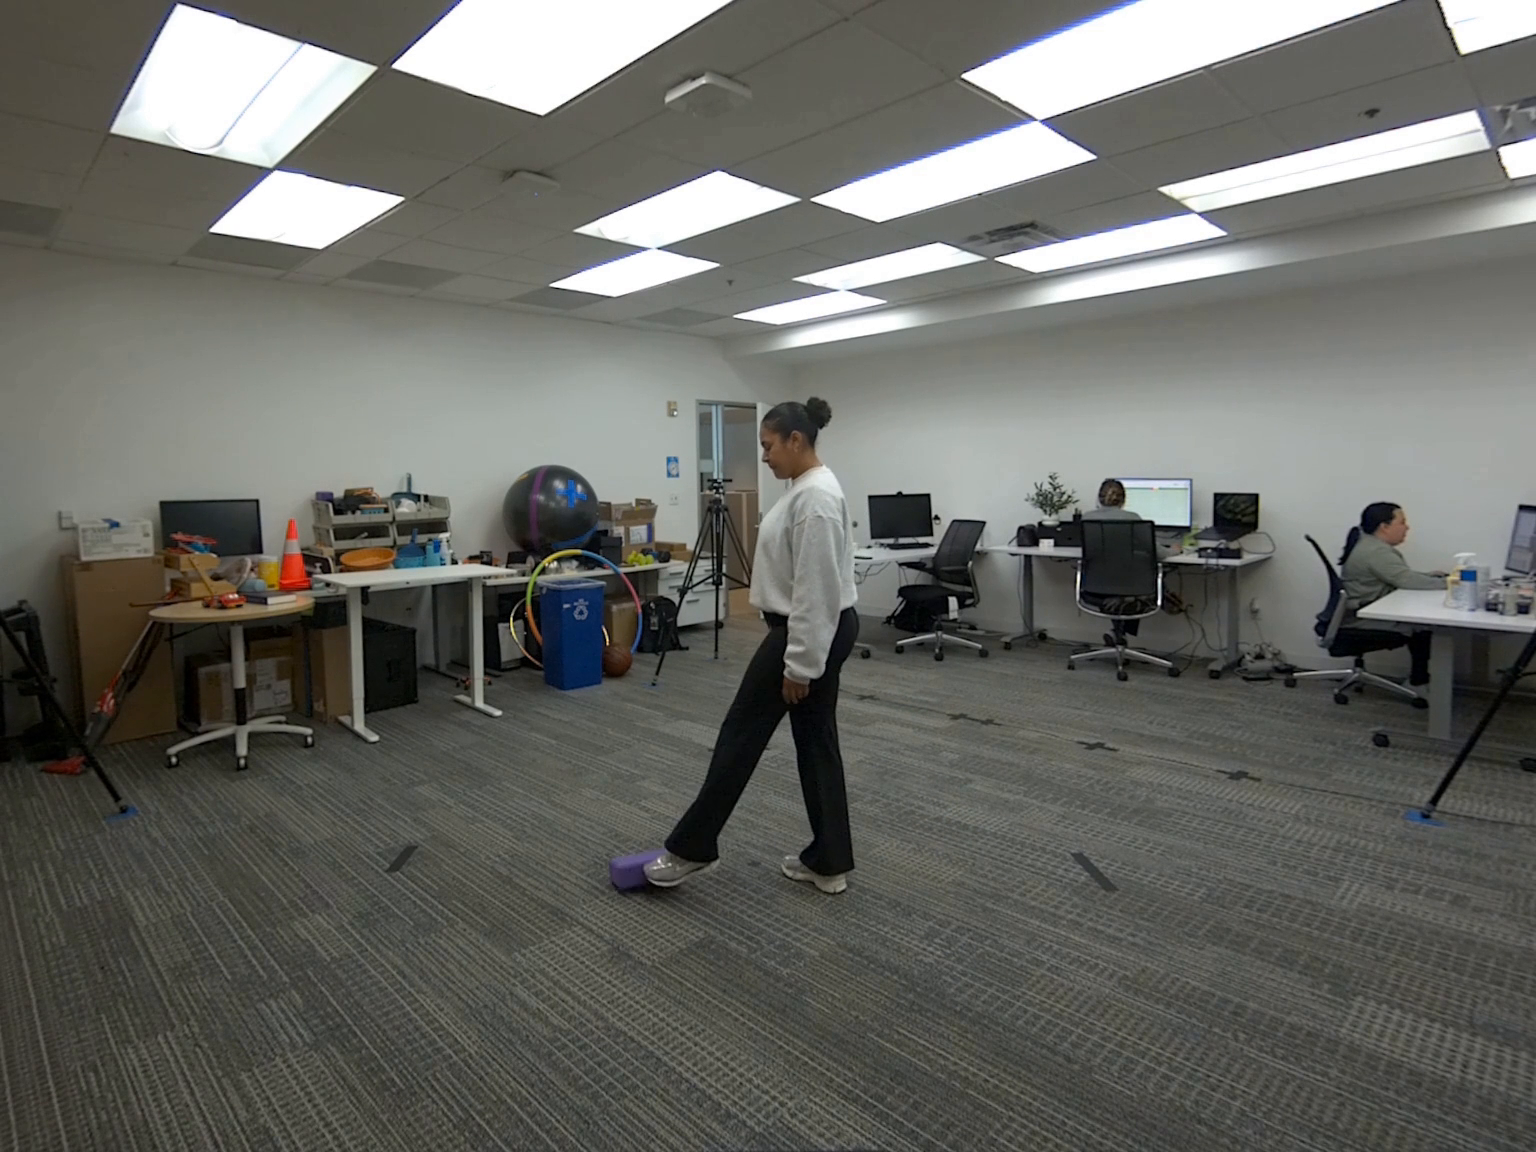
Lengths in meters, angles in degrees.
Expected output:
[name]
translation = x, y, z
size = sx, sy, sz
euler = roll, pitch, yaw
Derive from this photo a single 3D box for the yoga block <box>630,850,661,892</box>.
[yoga block]
translation = -0.301, 1.048, 2.910
size = 0.224, 0.076, 0.153
euler = -9, 4, -36
